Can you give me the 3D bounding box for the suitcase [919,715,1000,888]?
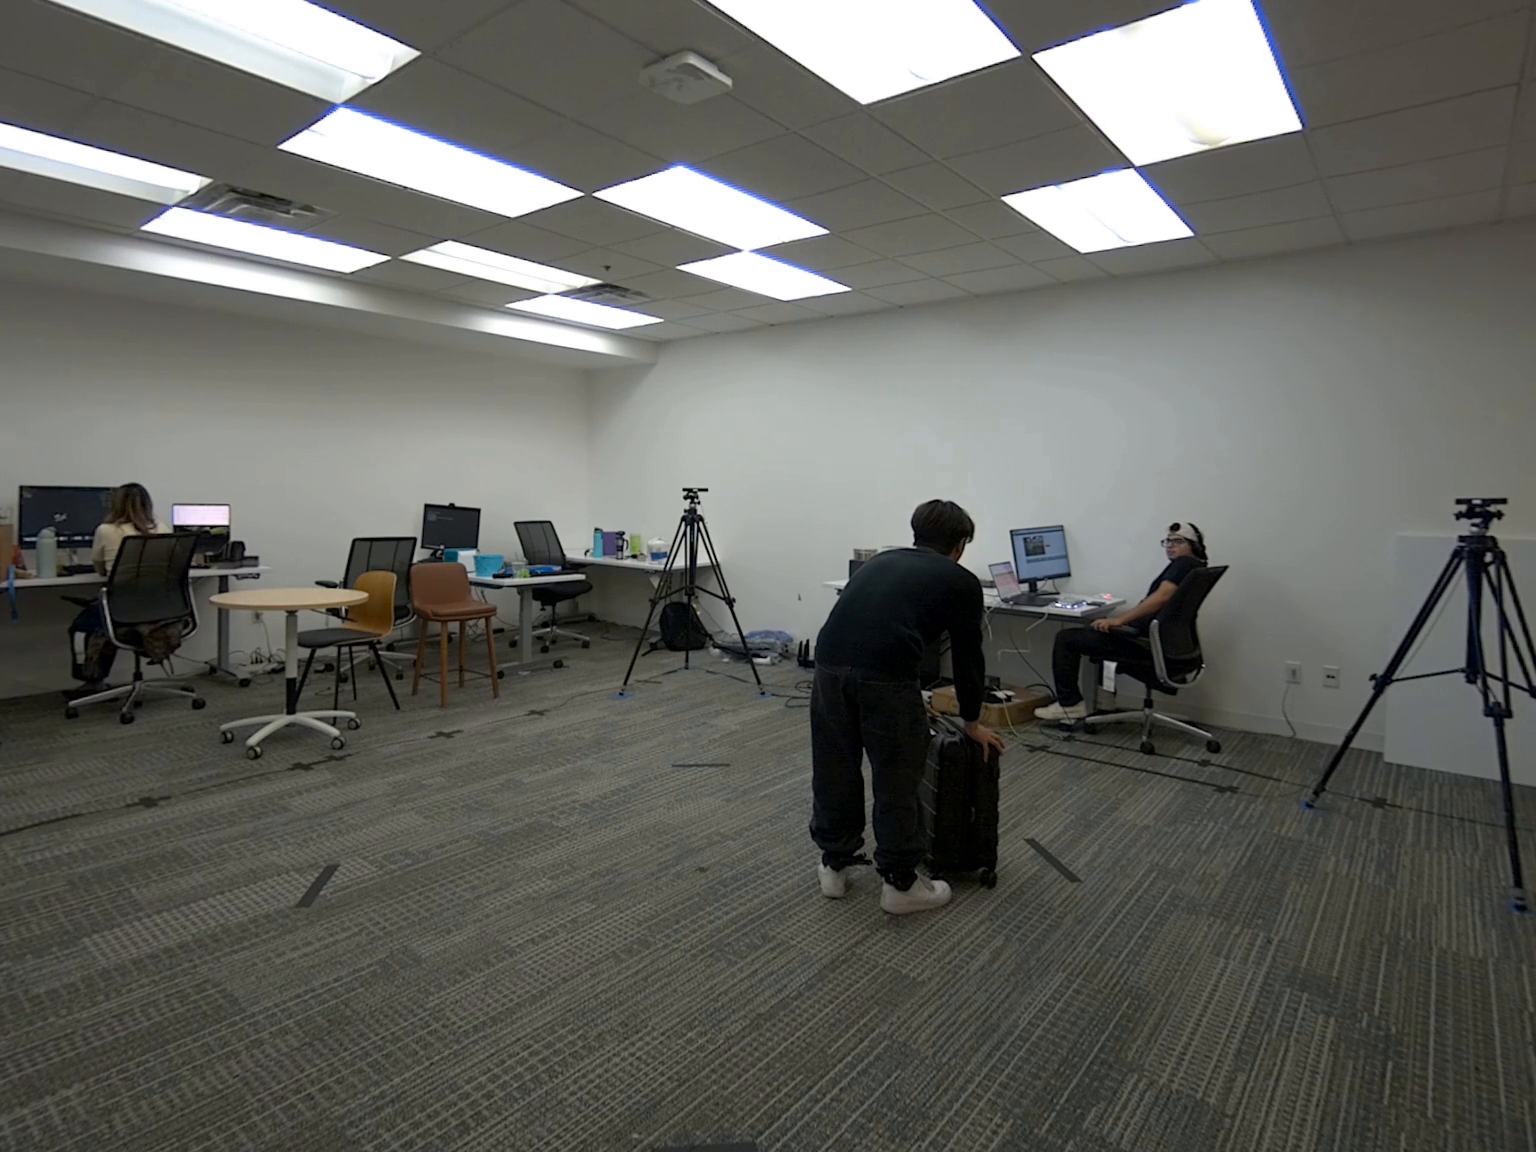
[{"bbox_3d":[0.675,0.806,3.171,0.246,0.548,0.381,1,4,-11],"label":"suitcase"}]
